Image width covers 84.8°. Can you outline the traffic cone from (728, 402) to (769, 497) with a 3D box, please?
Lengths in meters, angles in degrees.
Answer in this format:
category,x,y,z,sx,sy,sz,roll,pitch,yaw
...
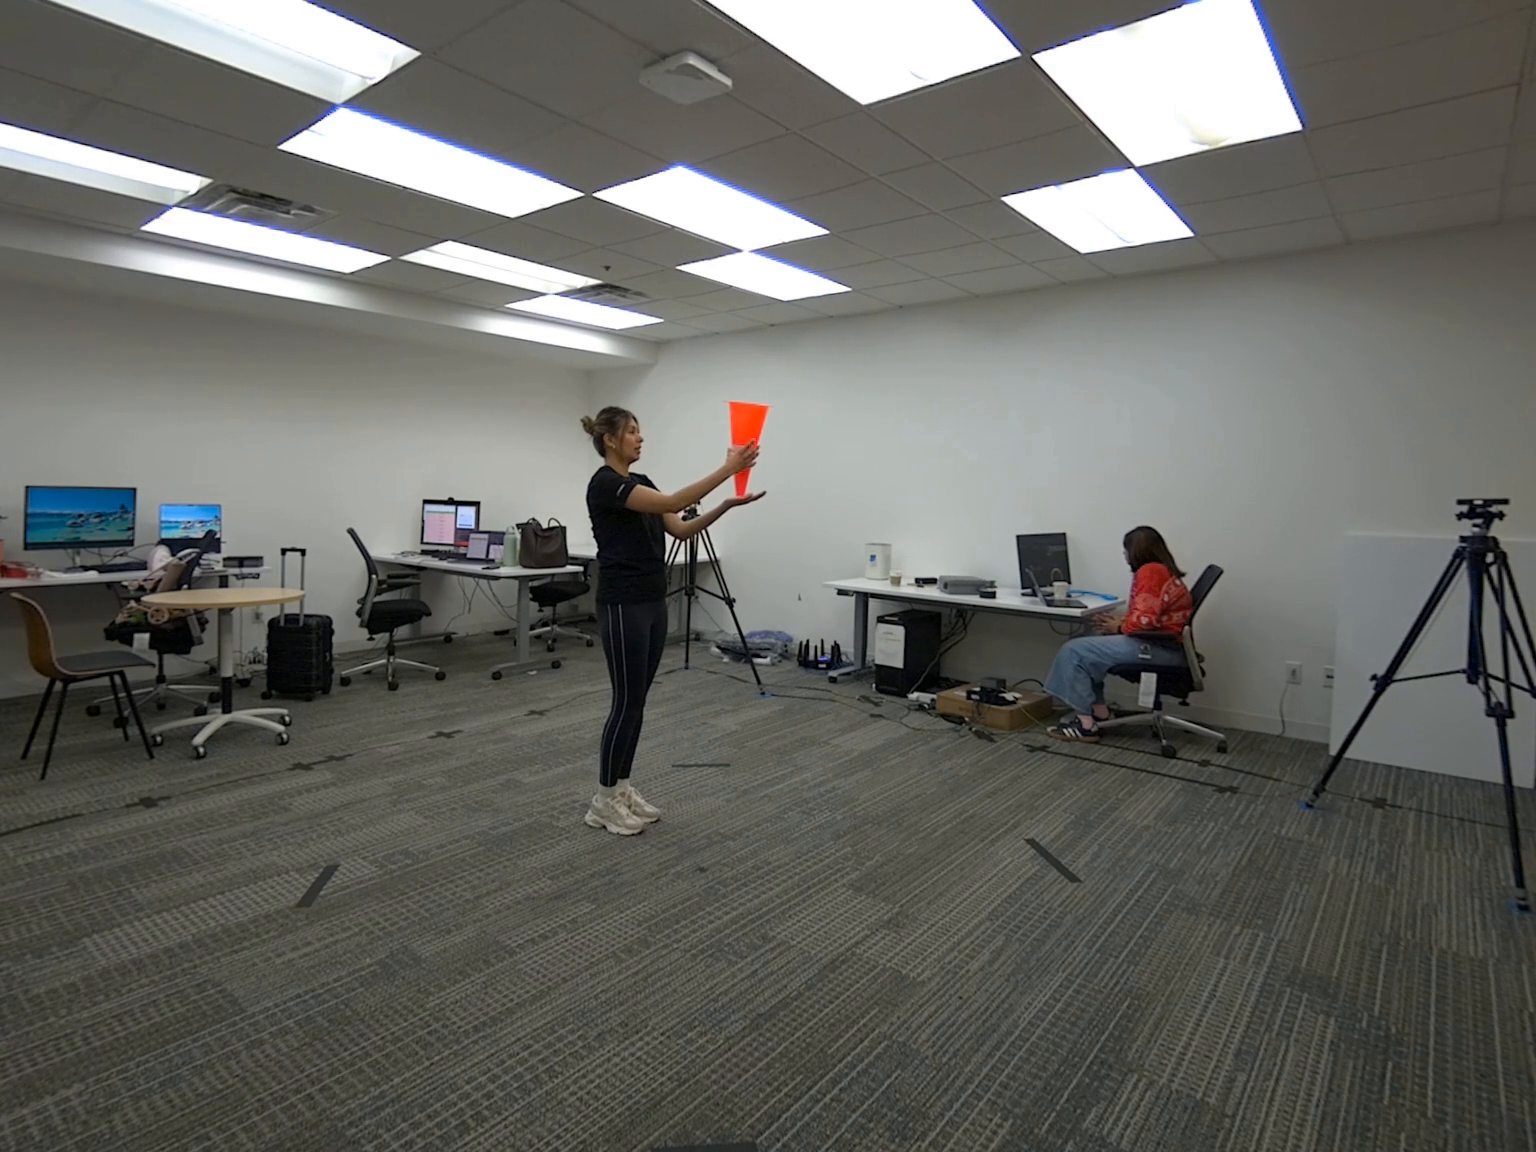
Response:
category,x,y,z,sx,sy,sz,roll,pitch,yaw
traffic cone,-0.103,-0.505,3.428,0.205,0.381,0.205,7,7,5
